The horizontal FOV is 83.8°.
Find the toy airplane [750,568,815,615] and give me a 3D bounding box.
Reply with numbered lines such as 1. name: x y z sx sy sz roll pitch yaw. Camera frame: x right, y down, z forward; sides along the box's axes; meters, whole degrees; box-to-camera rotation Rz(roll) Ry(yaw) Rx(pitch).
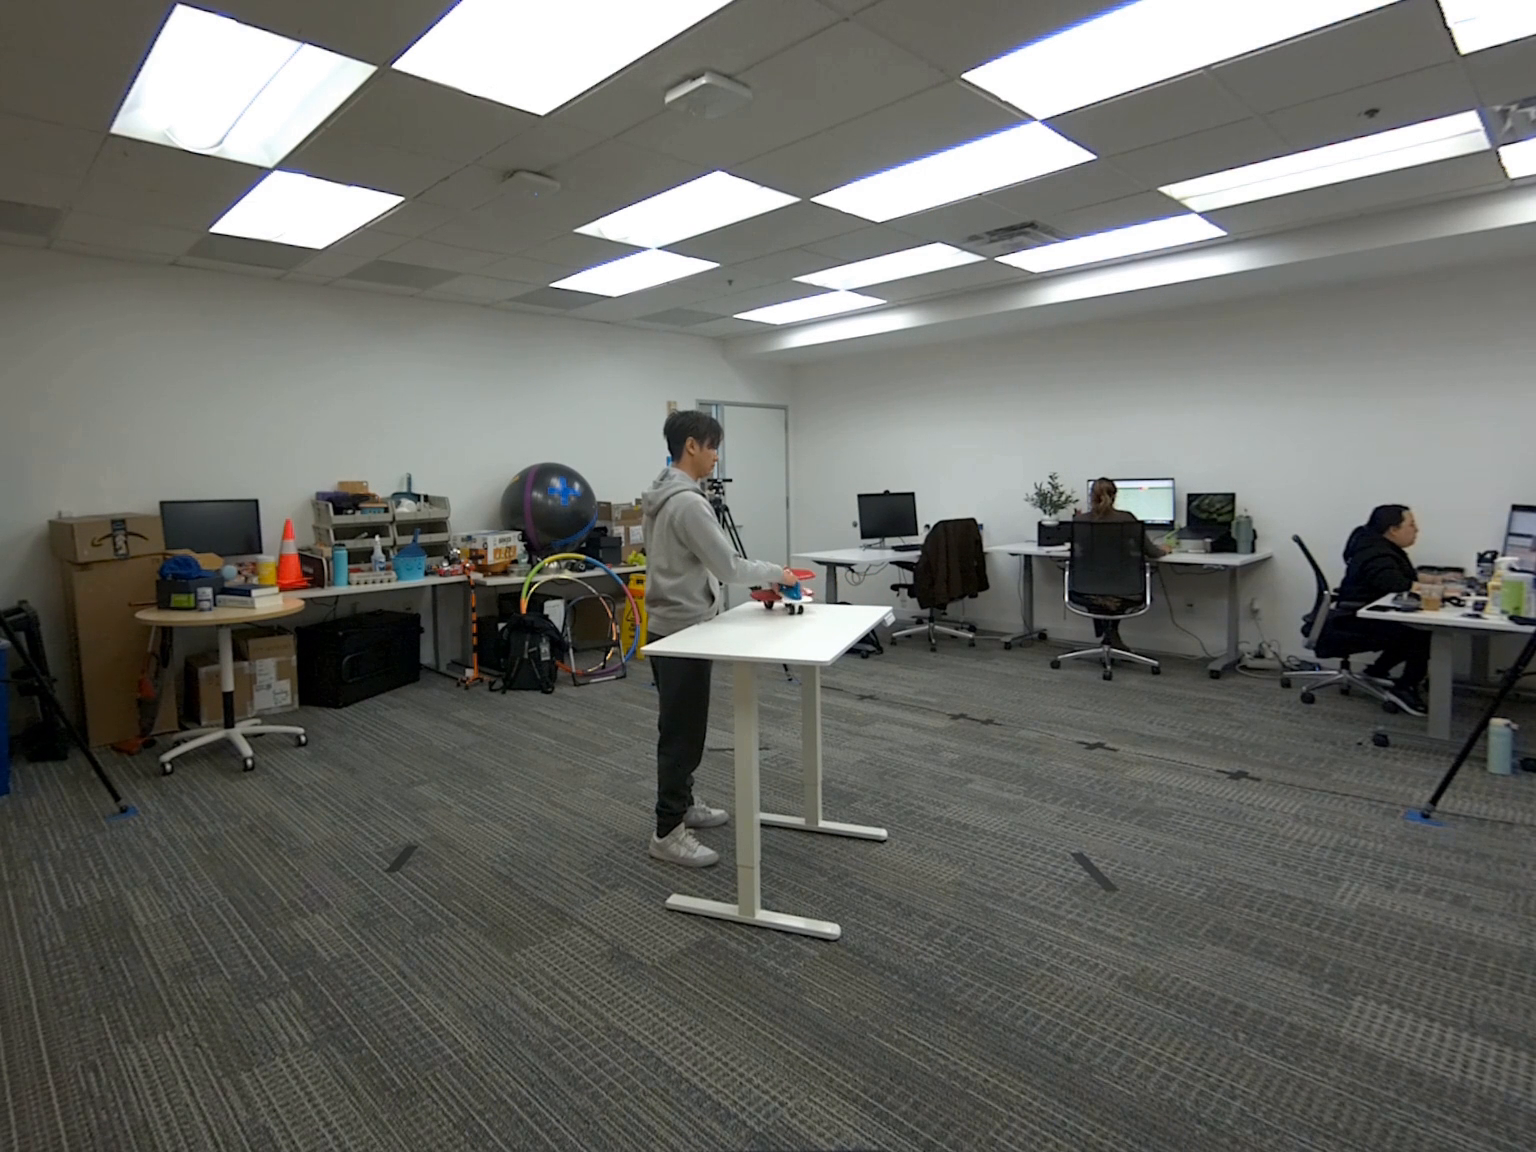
1. toy airplane: 0.085 0.058 3.308 0.267 0.156 0.245 4 8 44
